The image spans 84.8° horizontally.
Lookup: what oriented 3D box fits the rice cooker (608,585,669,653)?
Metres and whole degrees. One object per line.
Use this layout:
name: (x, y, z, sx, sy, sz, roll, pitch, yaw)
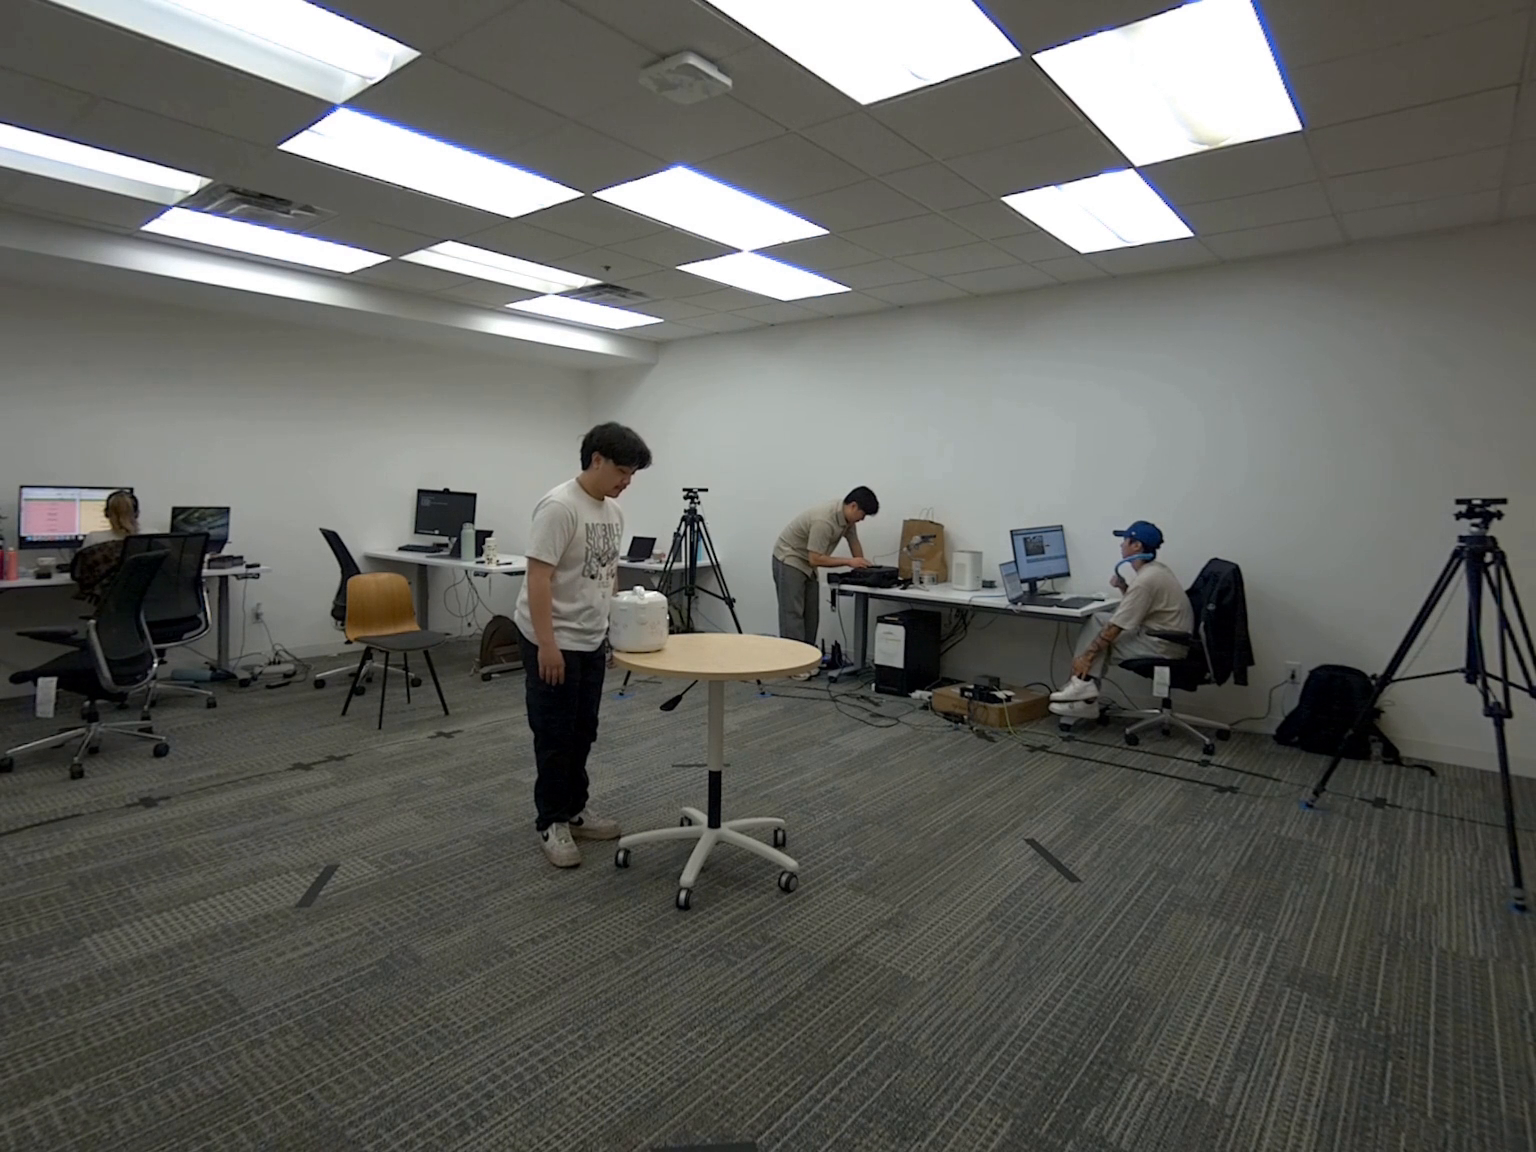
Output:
rice cooker: (-0.484, 0.156, 3.124, 0.214, 0.232, 0.224, -1, 5, -13)
